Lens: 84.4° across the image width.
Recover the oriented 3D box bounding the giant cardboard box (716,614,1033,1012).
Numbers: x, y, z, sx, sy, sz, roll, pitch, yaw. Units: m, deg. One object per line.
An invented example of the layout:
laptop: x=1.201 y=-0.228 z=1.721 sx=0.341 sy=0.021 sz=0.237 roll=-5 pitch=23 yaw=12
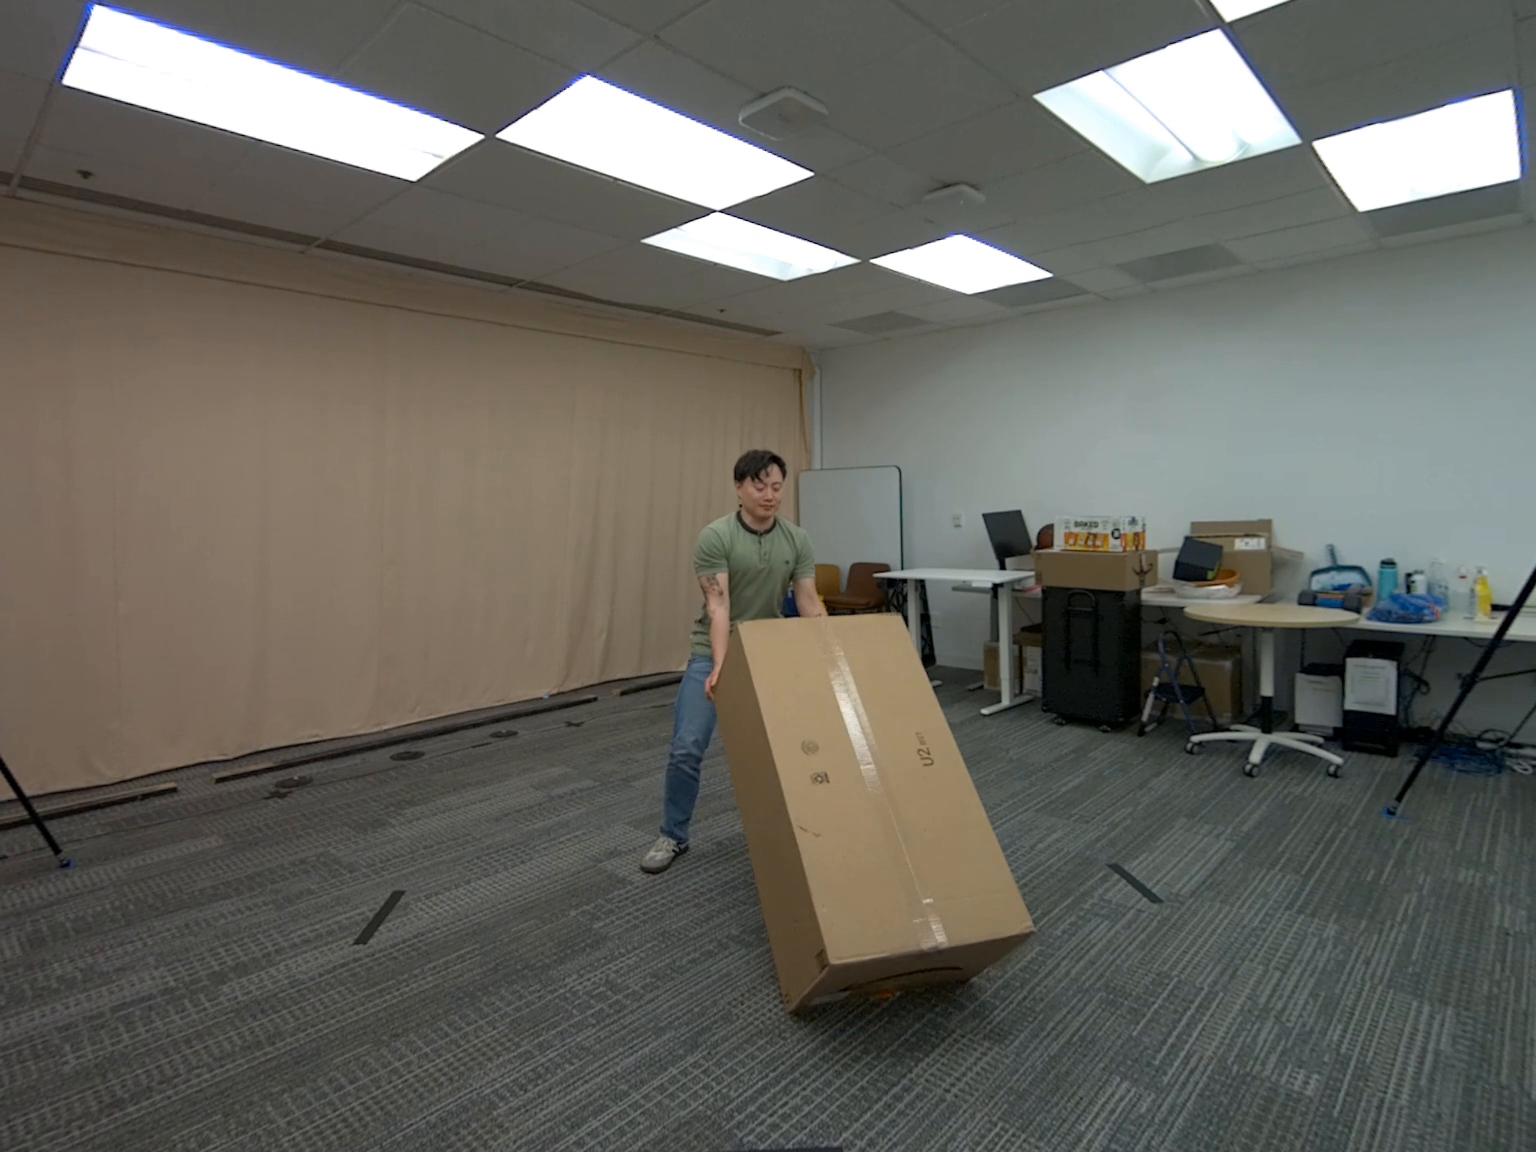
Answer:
giant cardboard box: x=0.252 y=0.664 z=2.545 sx=0.567 sy=1.053 sz=0.422 roll=-3 pitch=-40 yaw=-18
